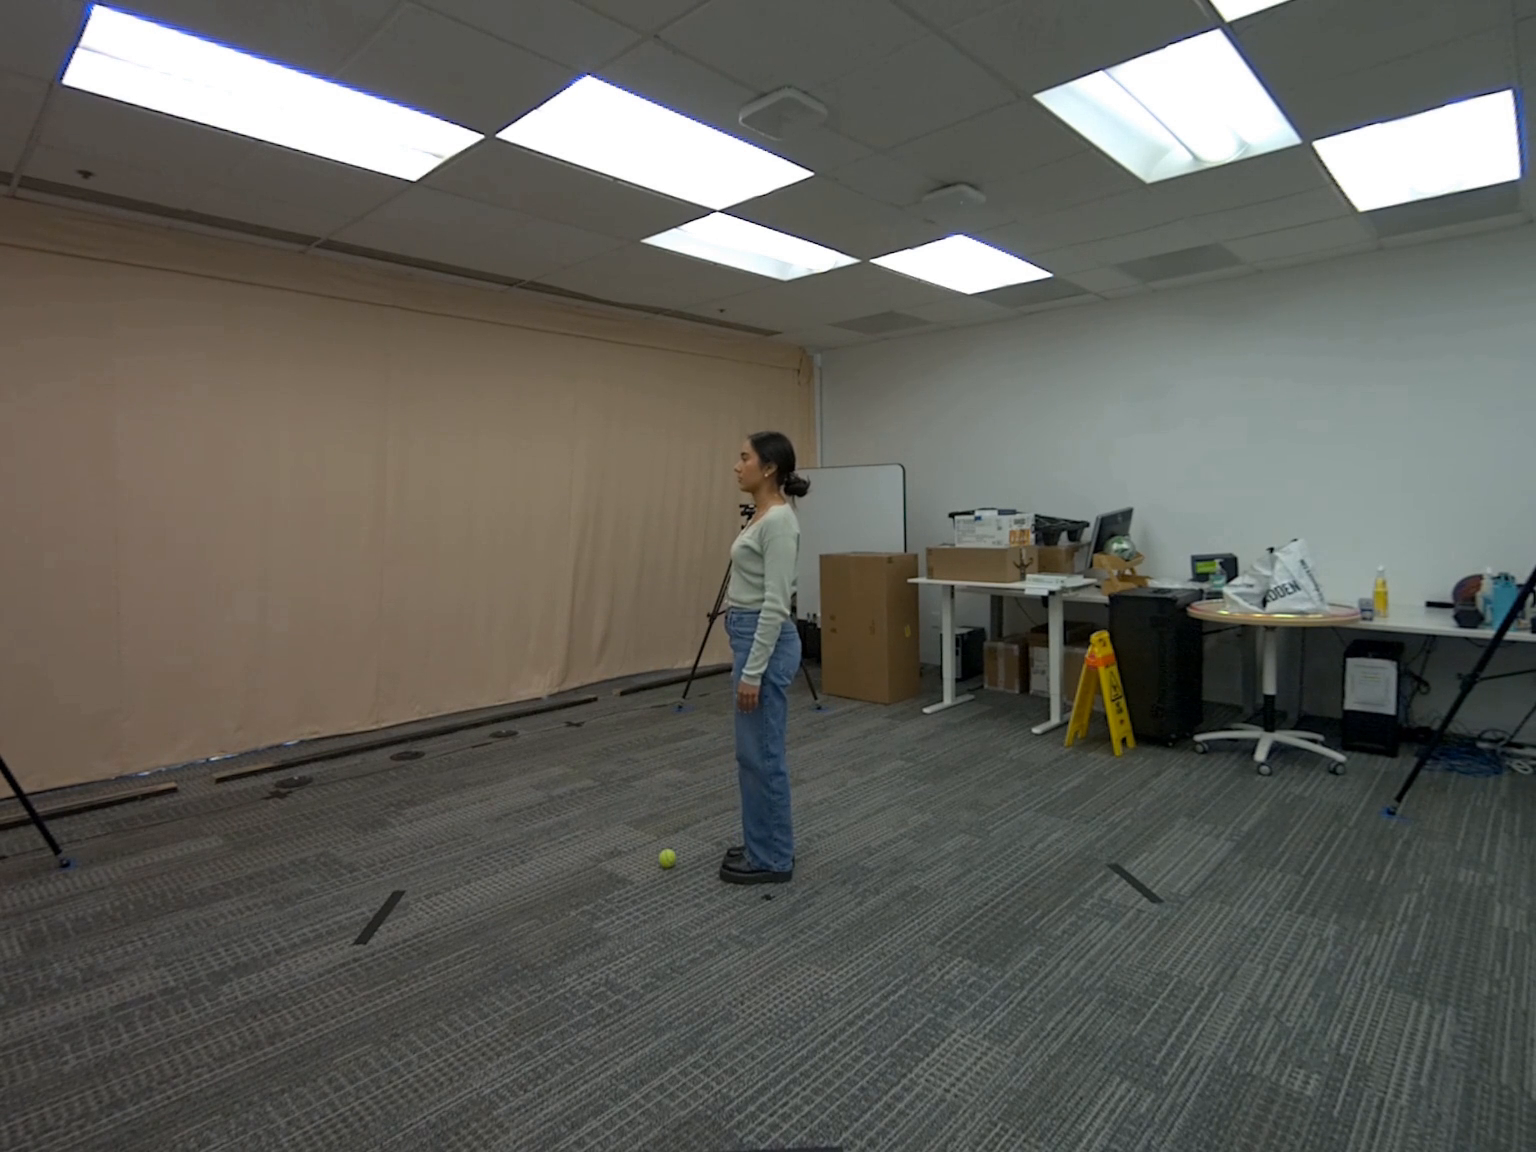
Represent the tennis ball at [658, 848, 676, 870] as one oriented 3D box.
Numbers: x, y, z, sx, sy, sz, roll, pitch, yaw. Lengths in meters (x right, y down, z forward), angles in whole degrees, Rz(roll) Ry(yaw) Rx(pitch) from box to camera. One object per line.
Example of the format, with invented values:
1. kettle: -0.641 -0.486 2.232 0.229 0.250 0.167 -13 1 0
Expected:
1. tennis ball: -0.385 1.084 3.245 0.066 0.066 0.067 -1 4 -2
